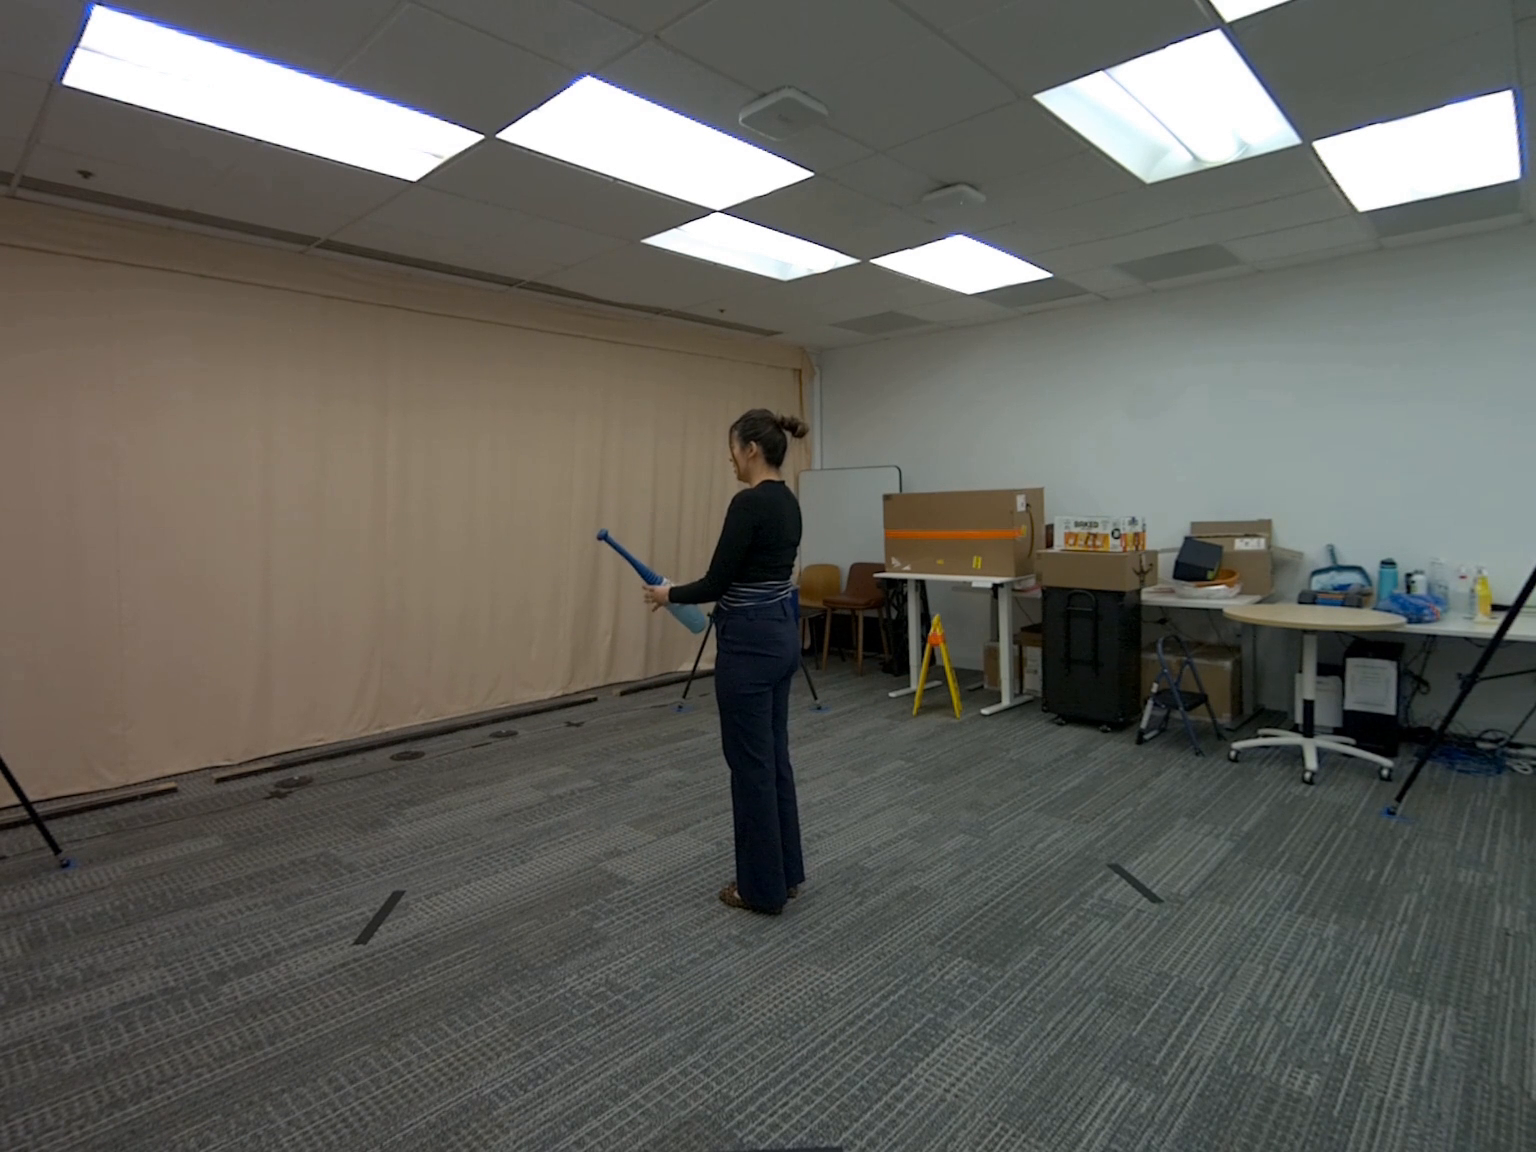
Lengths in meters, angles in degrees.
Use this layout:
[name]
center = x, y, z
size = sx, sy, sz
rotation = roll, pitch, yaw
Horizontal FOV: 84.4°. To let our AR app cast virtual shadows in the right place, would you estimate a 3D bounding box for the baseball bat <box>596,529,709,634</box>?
[baseball bat]
center = -0.415, 0.028, 3.098
size = 0.531, 0.089, 0.091
rotation = 45, -15, -19
